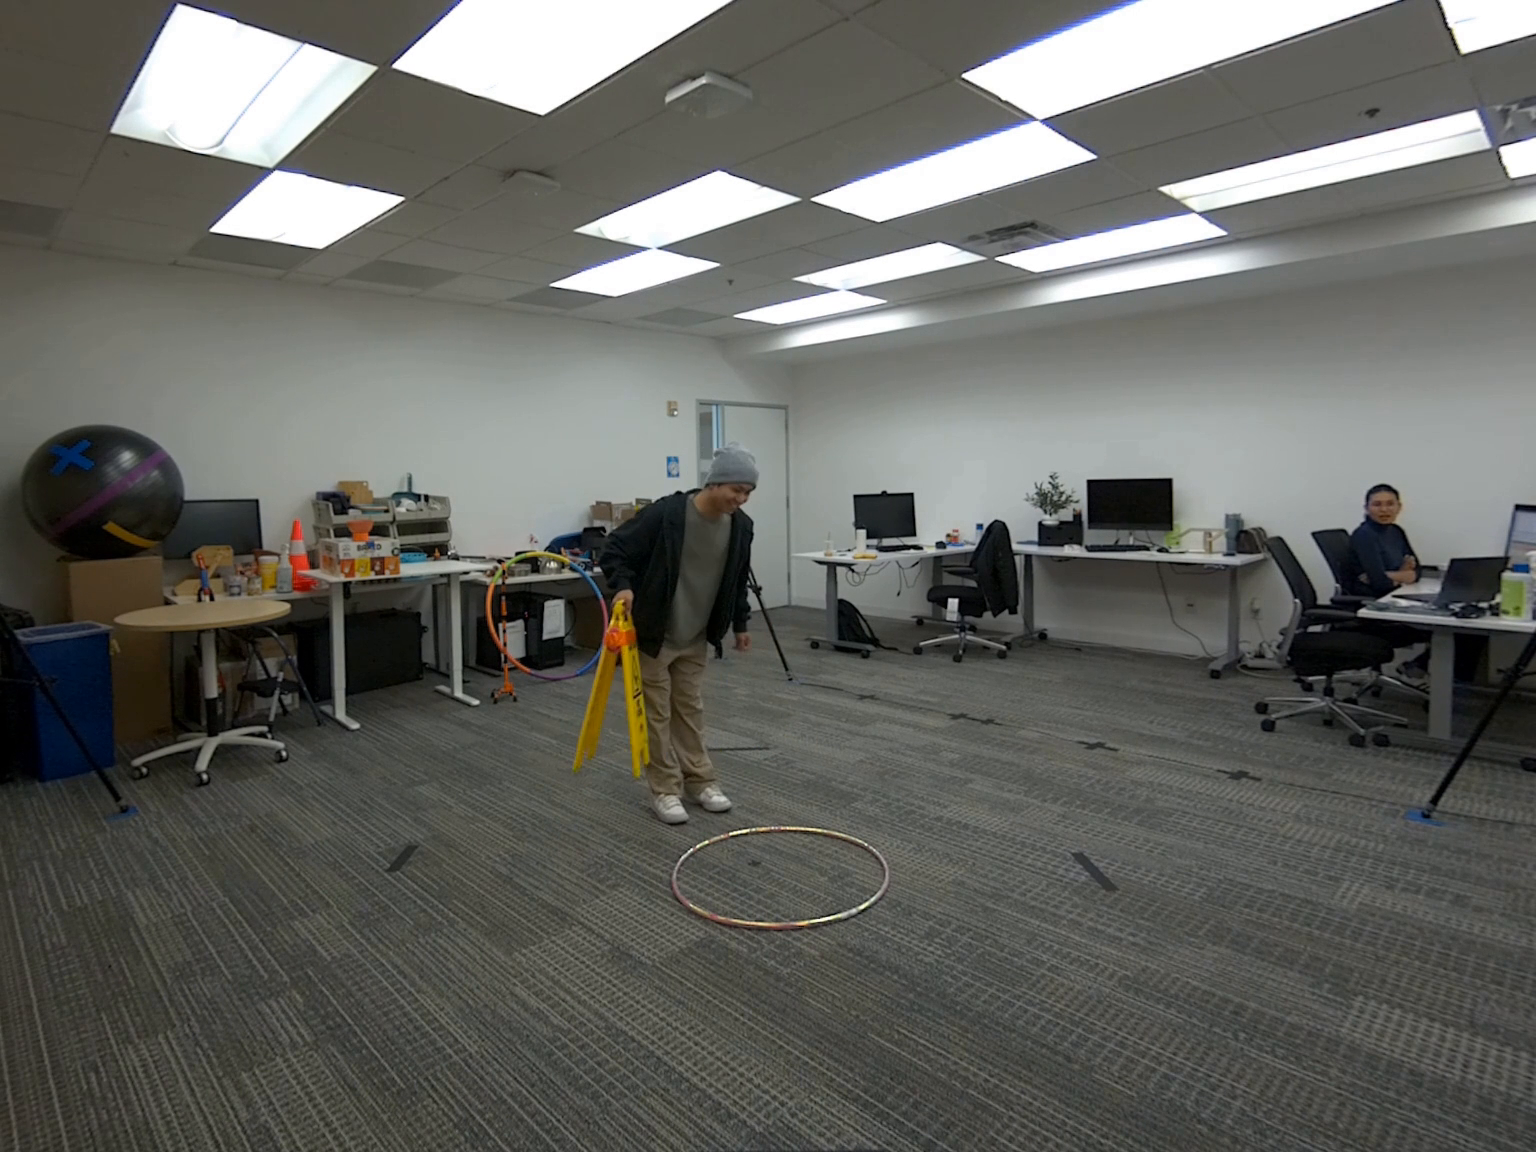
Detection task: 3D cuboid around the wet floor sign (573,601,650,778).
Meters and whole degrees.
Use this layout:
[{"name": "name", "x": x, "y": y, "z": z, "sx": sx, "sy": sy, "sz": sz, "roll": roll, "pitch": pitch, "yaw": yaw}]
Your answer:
[{"name": "wet floor sign", "x": -0.582, "y": 0.418, "z": 3.325, "sx": 0.291, "sy": 0.646, "sz": 0.281, "roll": 3, "pitch": 0, "yaw": 5}]
